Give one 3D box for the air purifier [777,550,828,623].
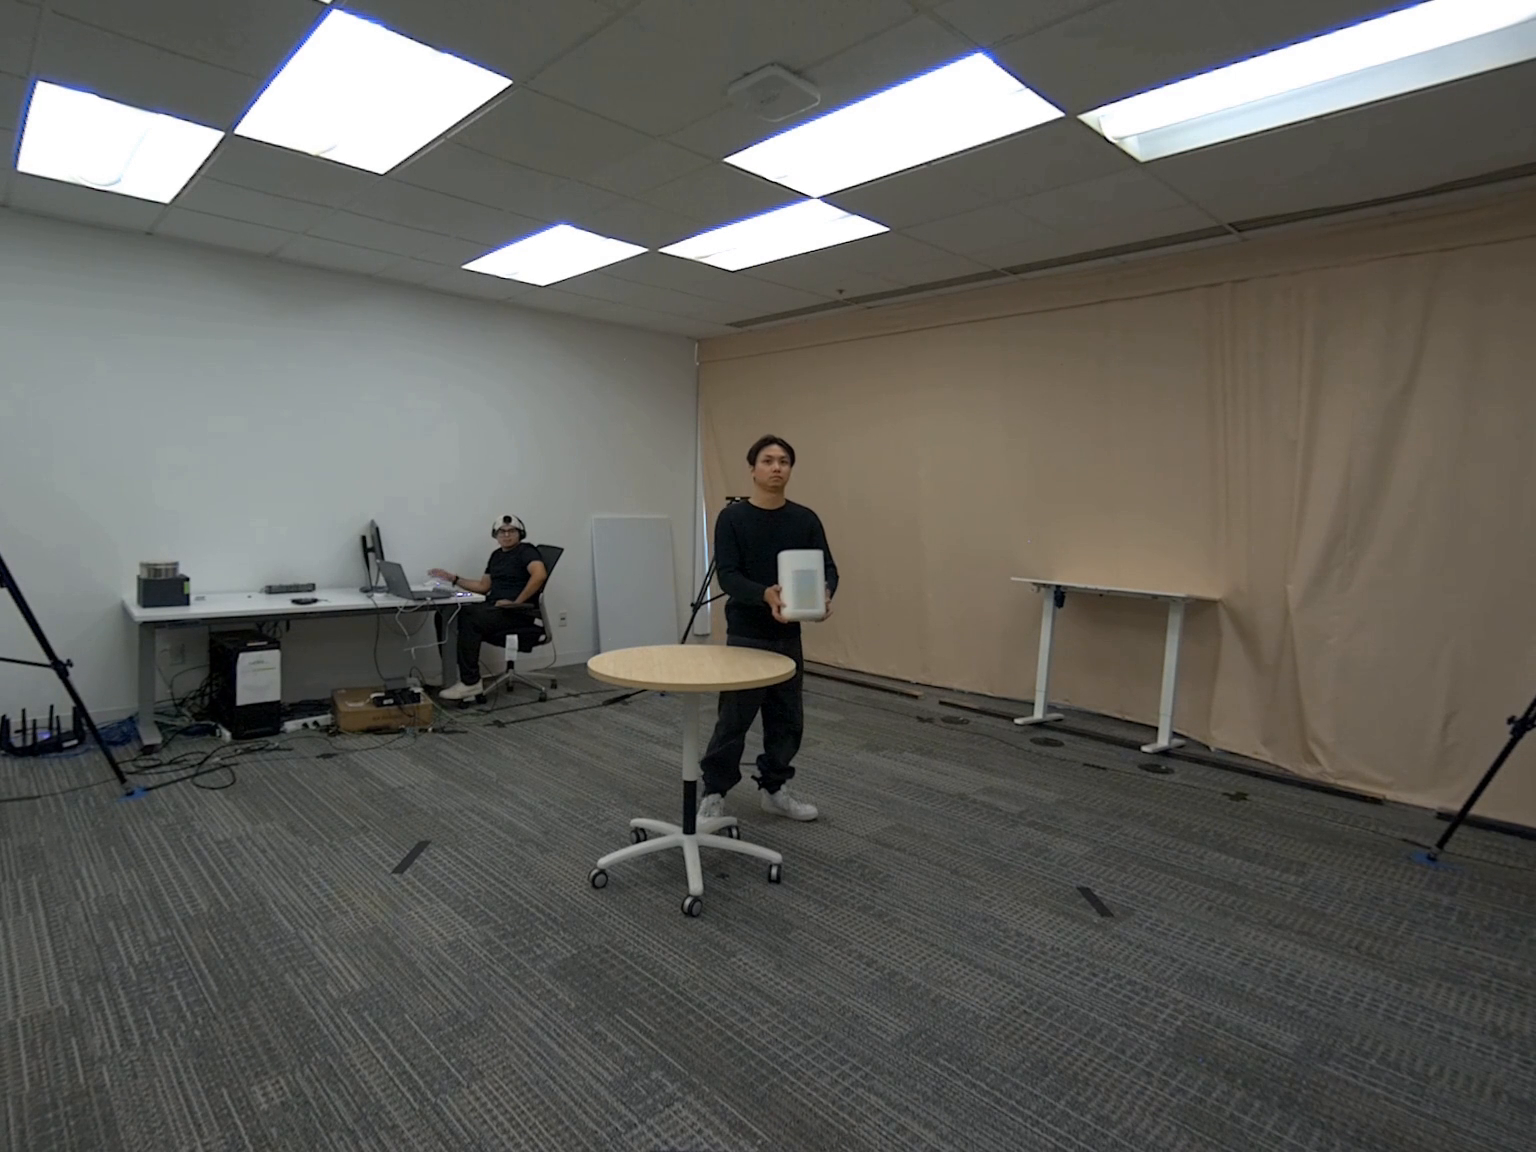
[{"bbox_3d":[0.123,0.037,3.291,0.170,0.267,0.171,1,-8,-9],"label":"air purifier"}]
